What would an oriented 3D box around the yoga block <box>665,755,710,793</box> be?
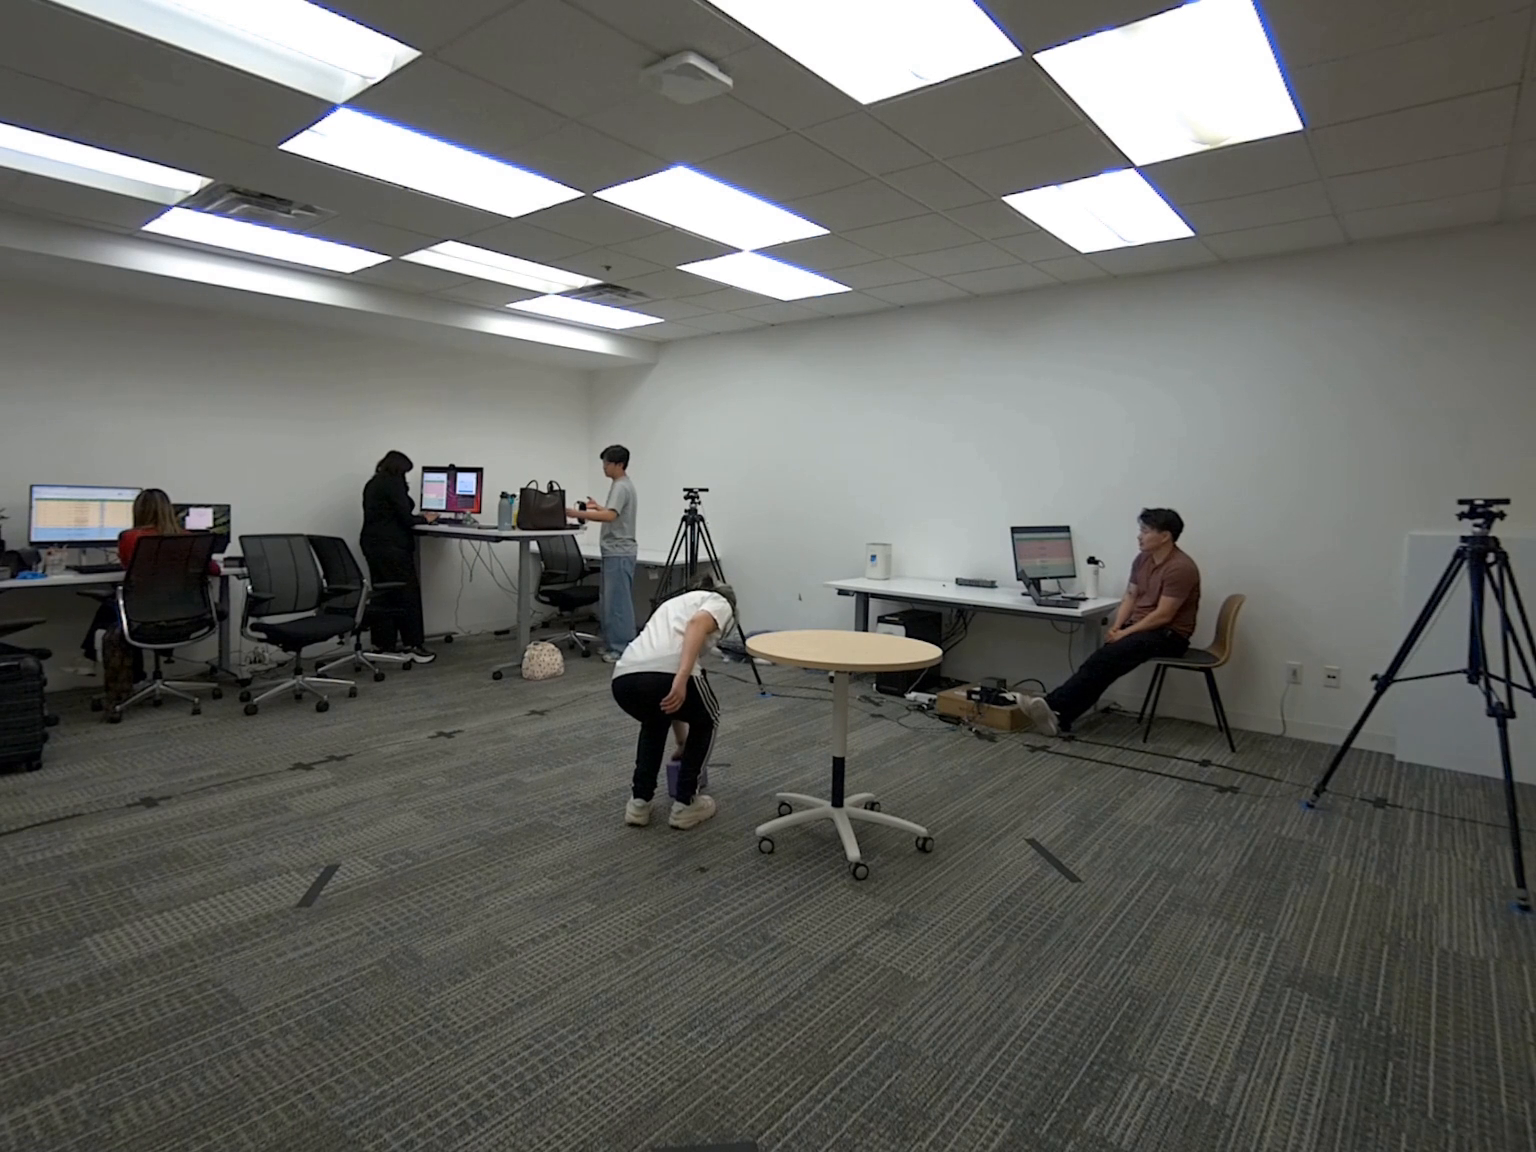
[{"bbox_3d":[-0.377,0.902,3.920,0.078,0.149,0.223,-5,-1,32],"label":"yoga block"}]
